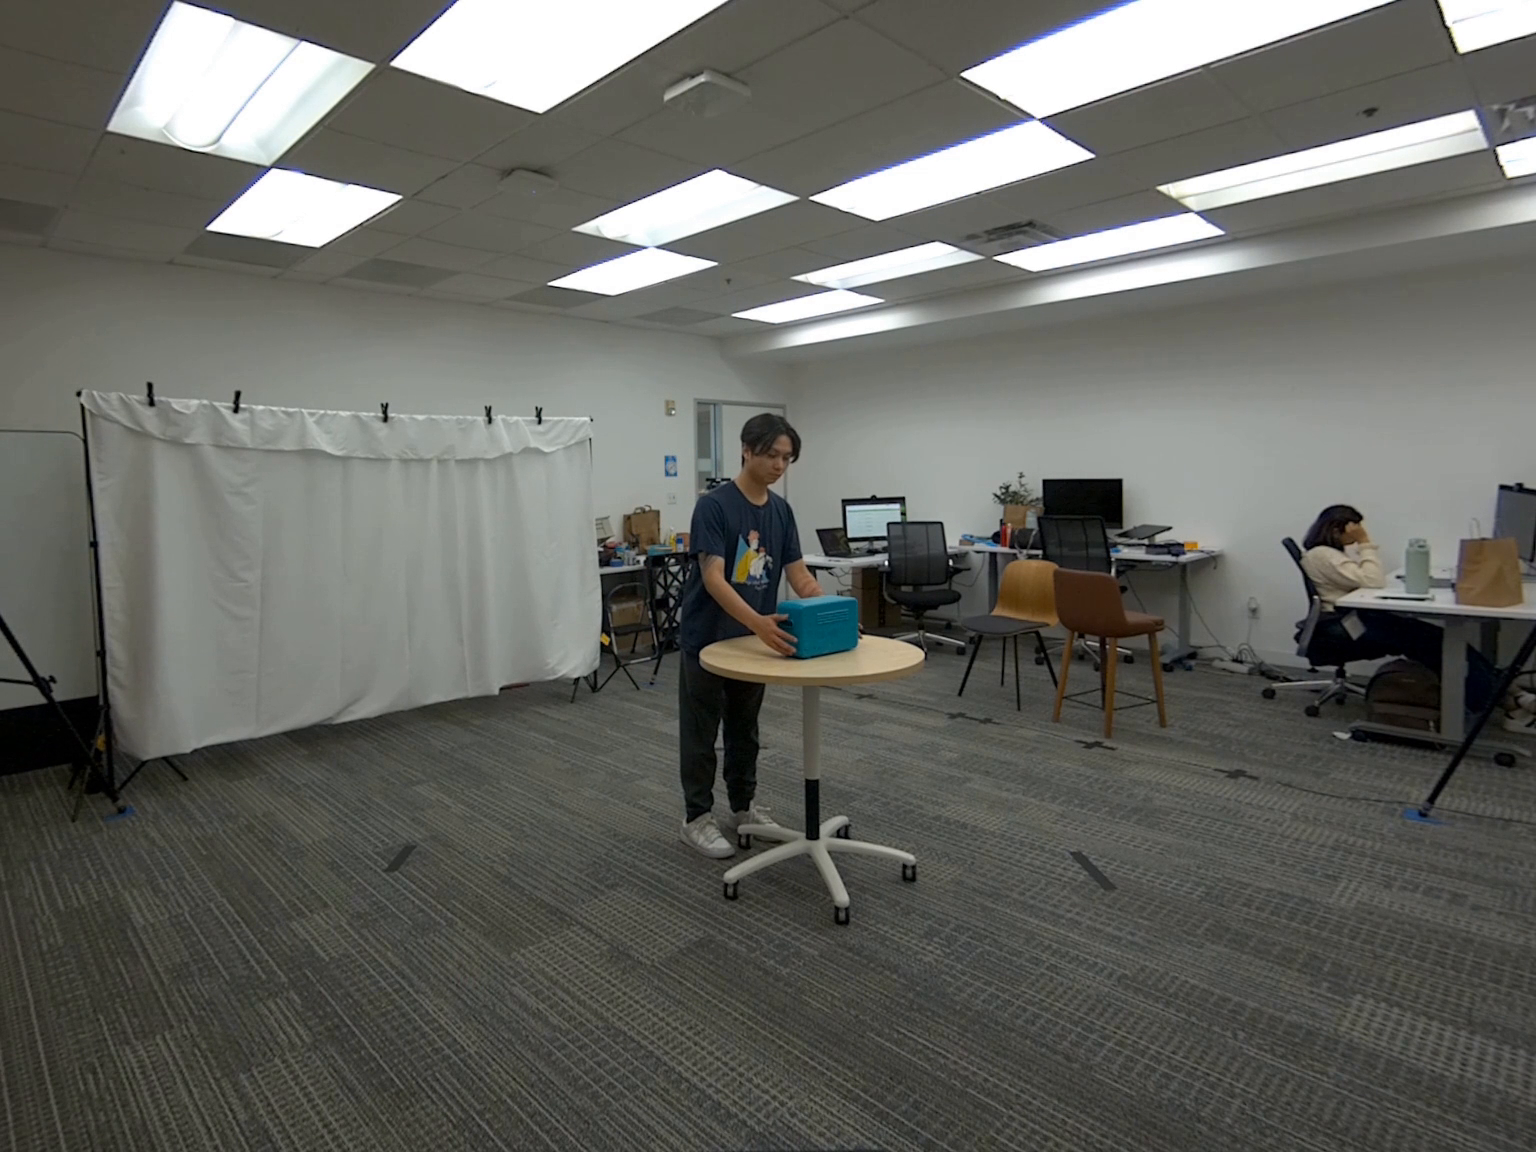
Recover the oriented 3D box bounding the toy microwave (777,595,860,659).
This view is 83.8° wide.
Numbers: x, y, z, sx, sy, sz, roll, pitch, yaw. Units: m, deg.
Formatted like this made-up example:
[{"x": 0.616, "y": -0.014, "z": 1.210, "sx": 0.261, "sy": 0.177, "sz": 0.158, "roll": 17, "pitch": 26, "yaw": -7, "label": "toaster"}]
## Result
[{"x": 0.174, "y": 0.176, "z": 2.923, "sx": 0.279, "sy": 0.183, "sz": 0.157, "roll": -5, "pitch": 7, "yaw": -37, "label": "toy microwave"}]
